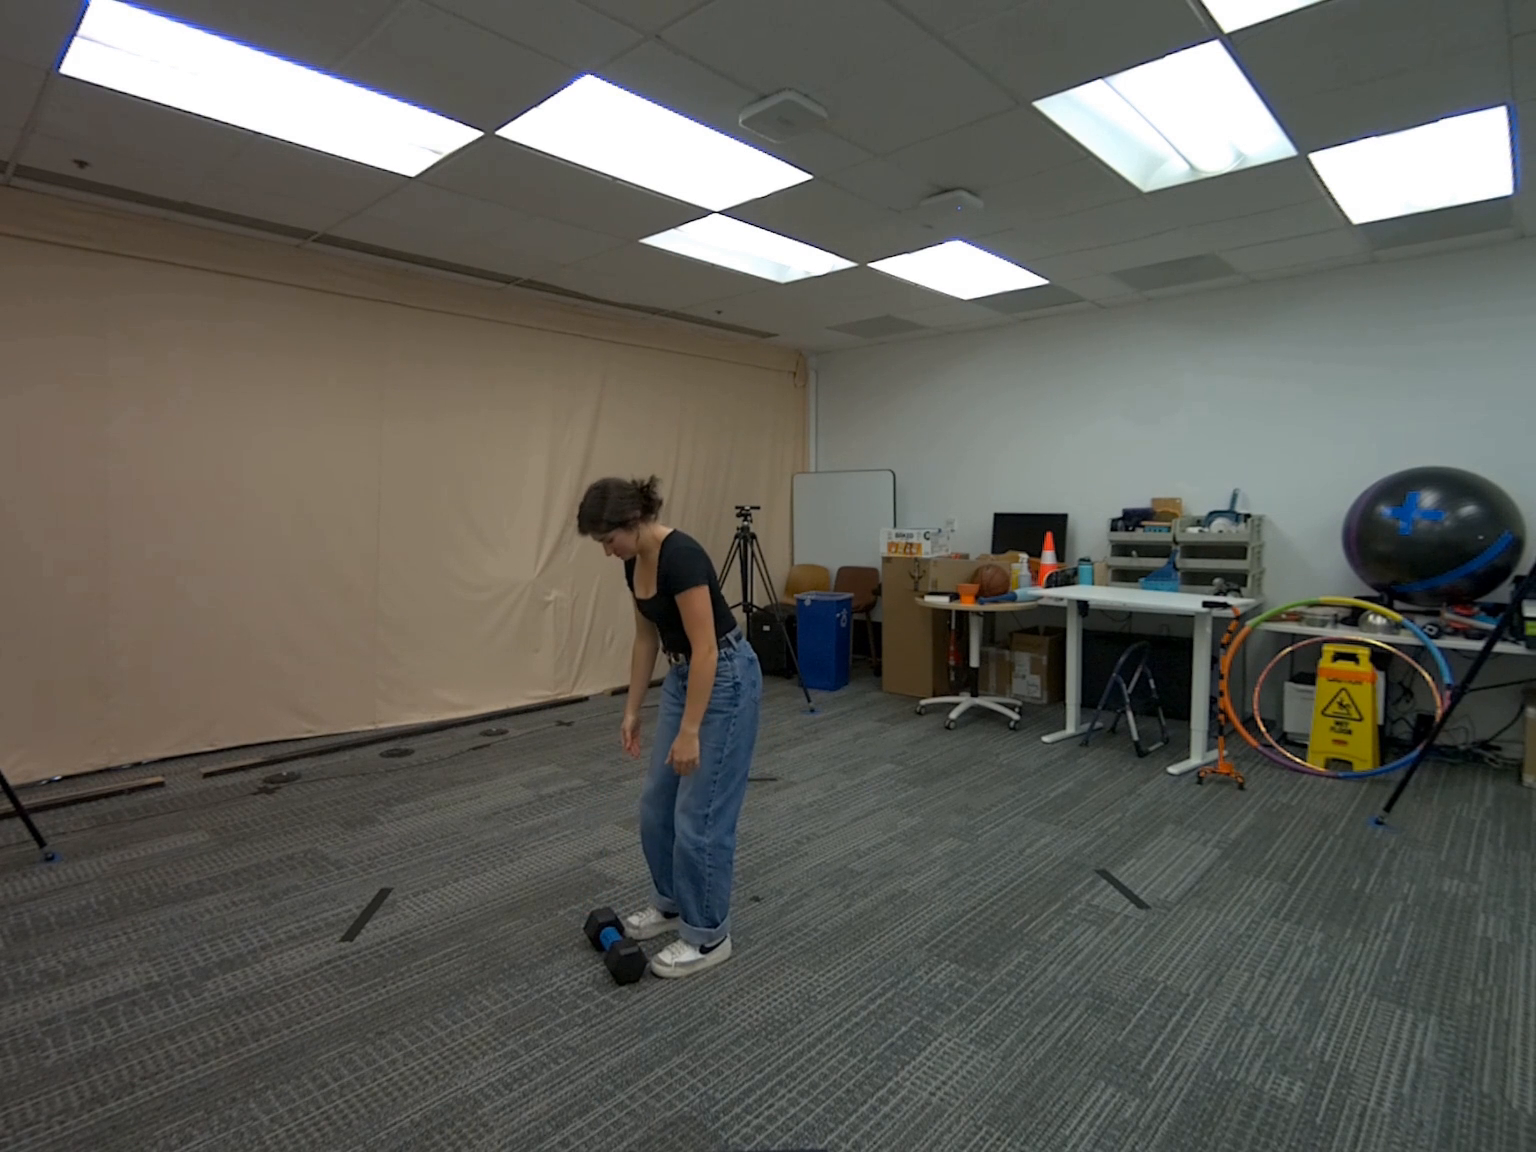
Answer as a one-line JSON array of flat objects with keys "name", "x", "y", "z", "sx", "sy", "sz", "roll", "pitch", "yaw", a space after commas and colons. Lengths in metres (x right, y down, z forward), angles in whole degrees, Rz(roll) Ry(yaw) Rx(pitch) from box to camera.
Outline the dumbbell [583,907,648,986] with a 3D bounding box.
[{"name": "dumbbell", "x": -0.468, "y": 1.128, "z": 2.569, "sx": 0.107, "sy": 0.121, "sz": 0.301, "roll": -34, "pitch": 18, "yaw": -22}]
